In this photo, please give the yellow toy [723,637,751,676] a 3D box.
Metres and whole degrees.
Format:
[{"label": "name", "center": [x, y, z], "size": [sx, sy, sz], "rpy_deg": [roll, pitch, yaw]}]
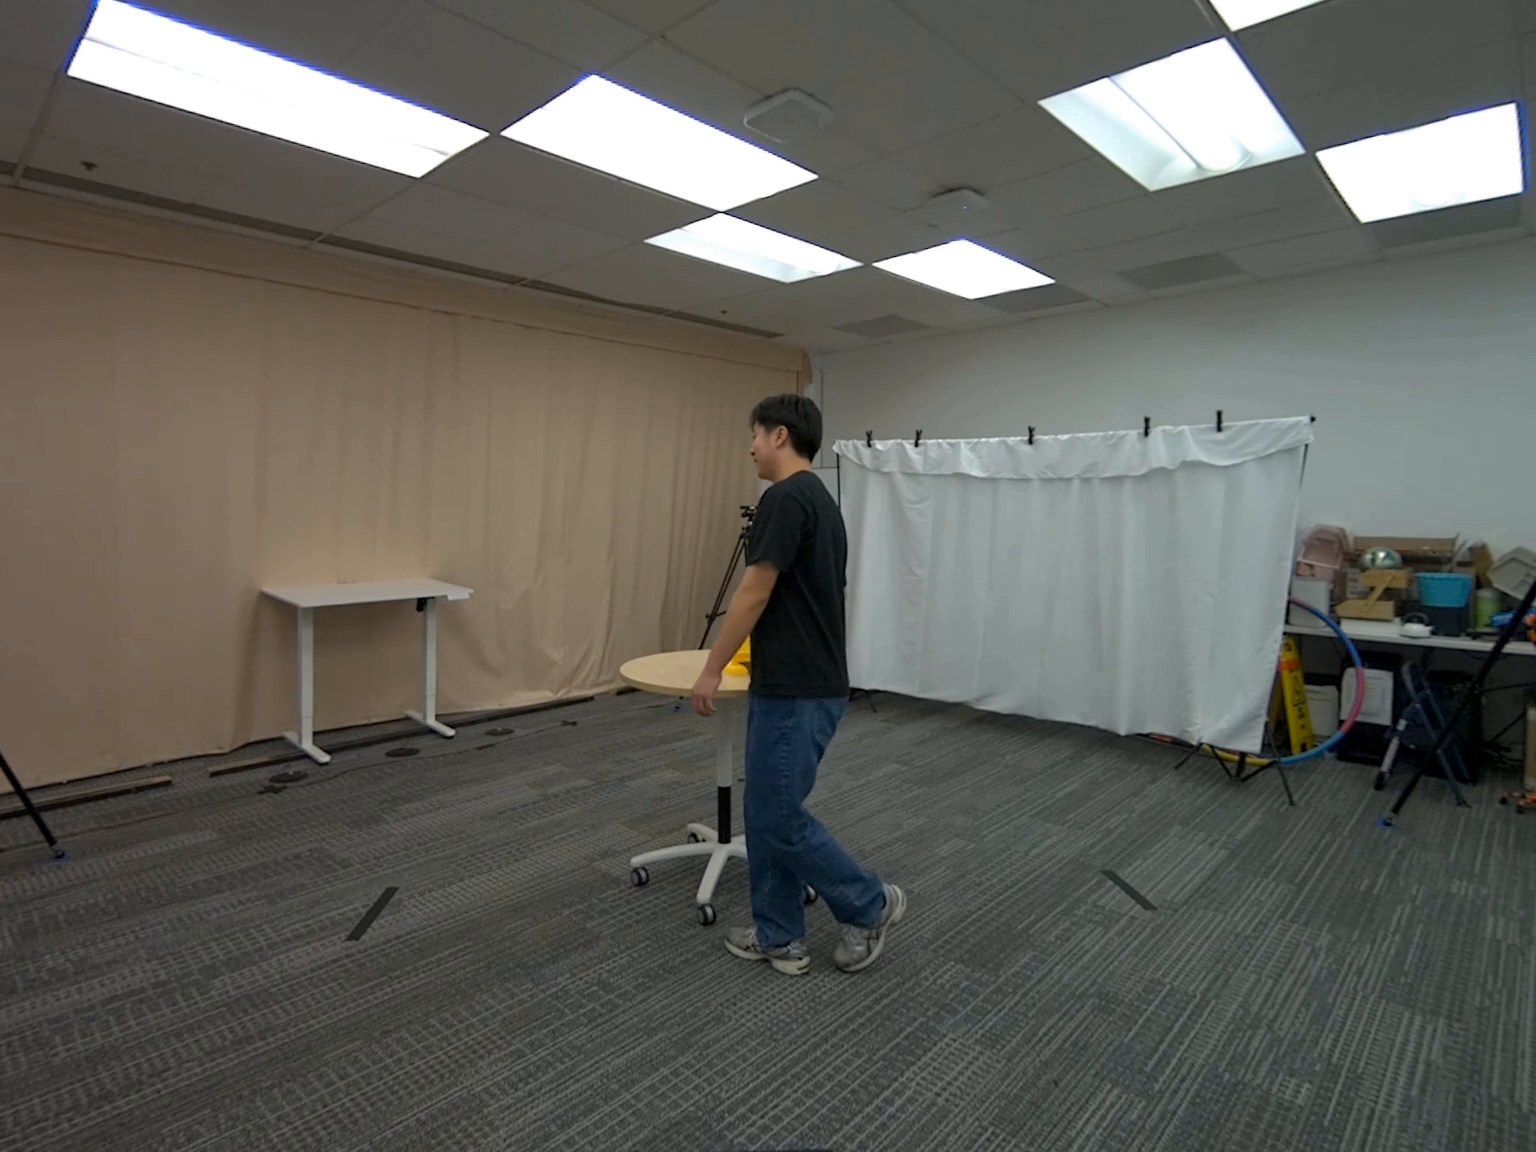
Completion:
[{"label": "yellow toy", "center": [-0.066, 0.227, 3.048], "size": [0.202, 0.230, 0.196], "rpy_deg": [-2, 4, -13]}]
